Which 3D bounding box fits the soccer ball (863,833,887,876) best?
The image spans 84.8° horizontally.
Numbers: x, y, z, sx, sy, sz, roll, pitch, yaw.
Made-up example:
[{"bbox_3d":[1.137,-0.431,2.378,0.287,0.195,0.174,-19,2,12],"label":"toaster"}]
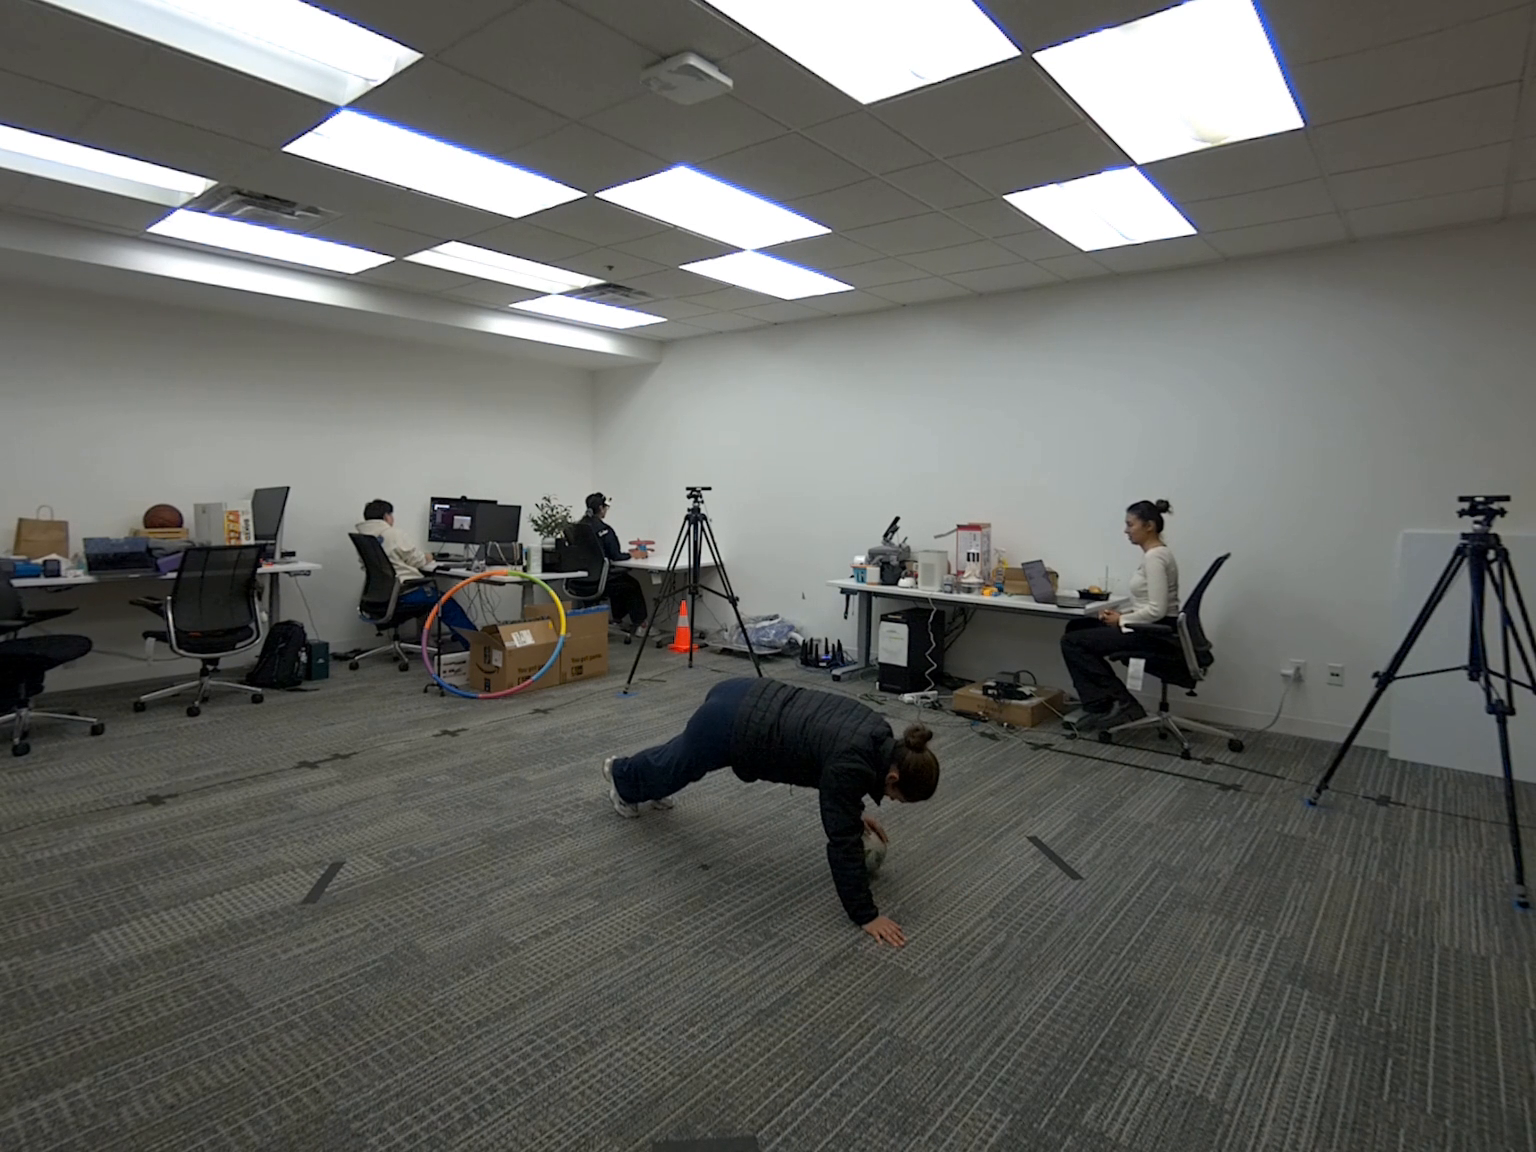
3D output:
[{"bbox_3d":[0.328,0.982,3.084,0.187,0.187,0.188,1,4,-2],"label":"soccer ball"}]
